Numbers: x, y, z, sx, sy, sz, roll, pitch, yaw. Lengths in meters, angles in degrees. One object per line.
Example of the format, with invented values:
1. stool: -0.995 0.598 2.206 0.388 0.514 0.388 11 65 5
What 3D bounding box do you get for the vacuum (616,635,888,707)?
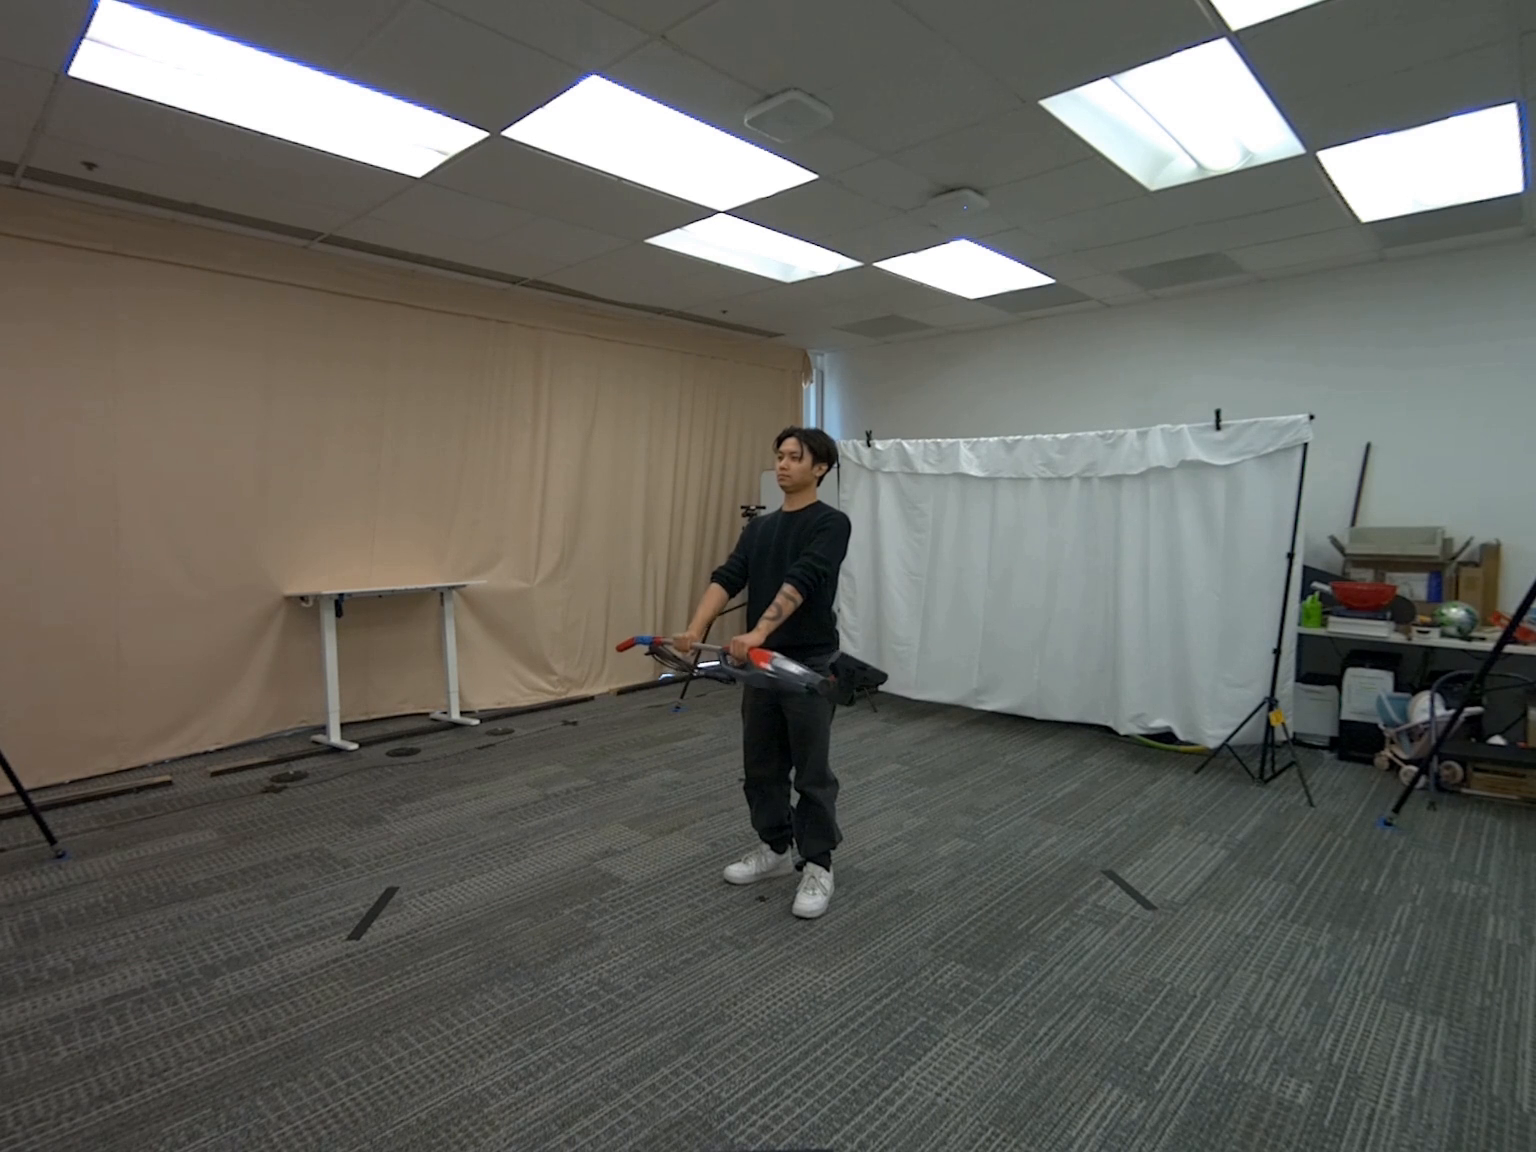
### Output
1. vacuum: -0.156 0.286 2.748 1.084 0.144 0.243 1 -13 43
